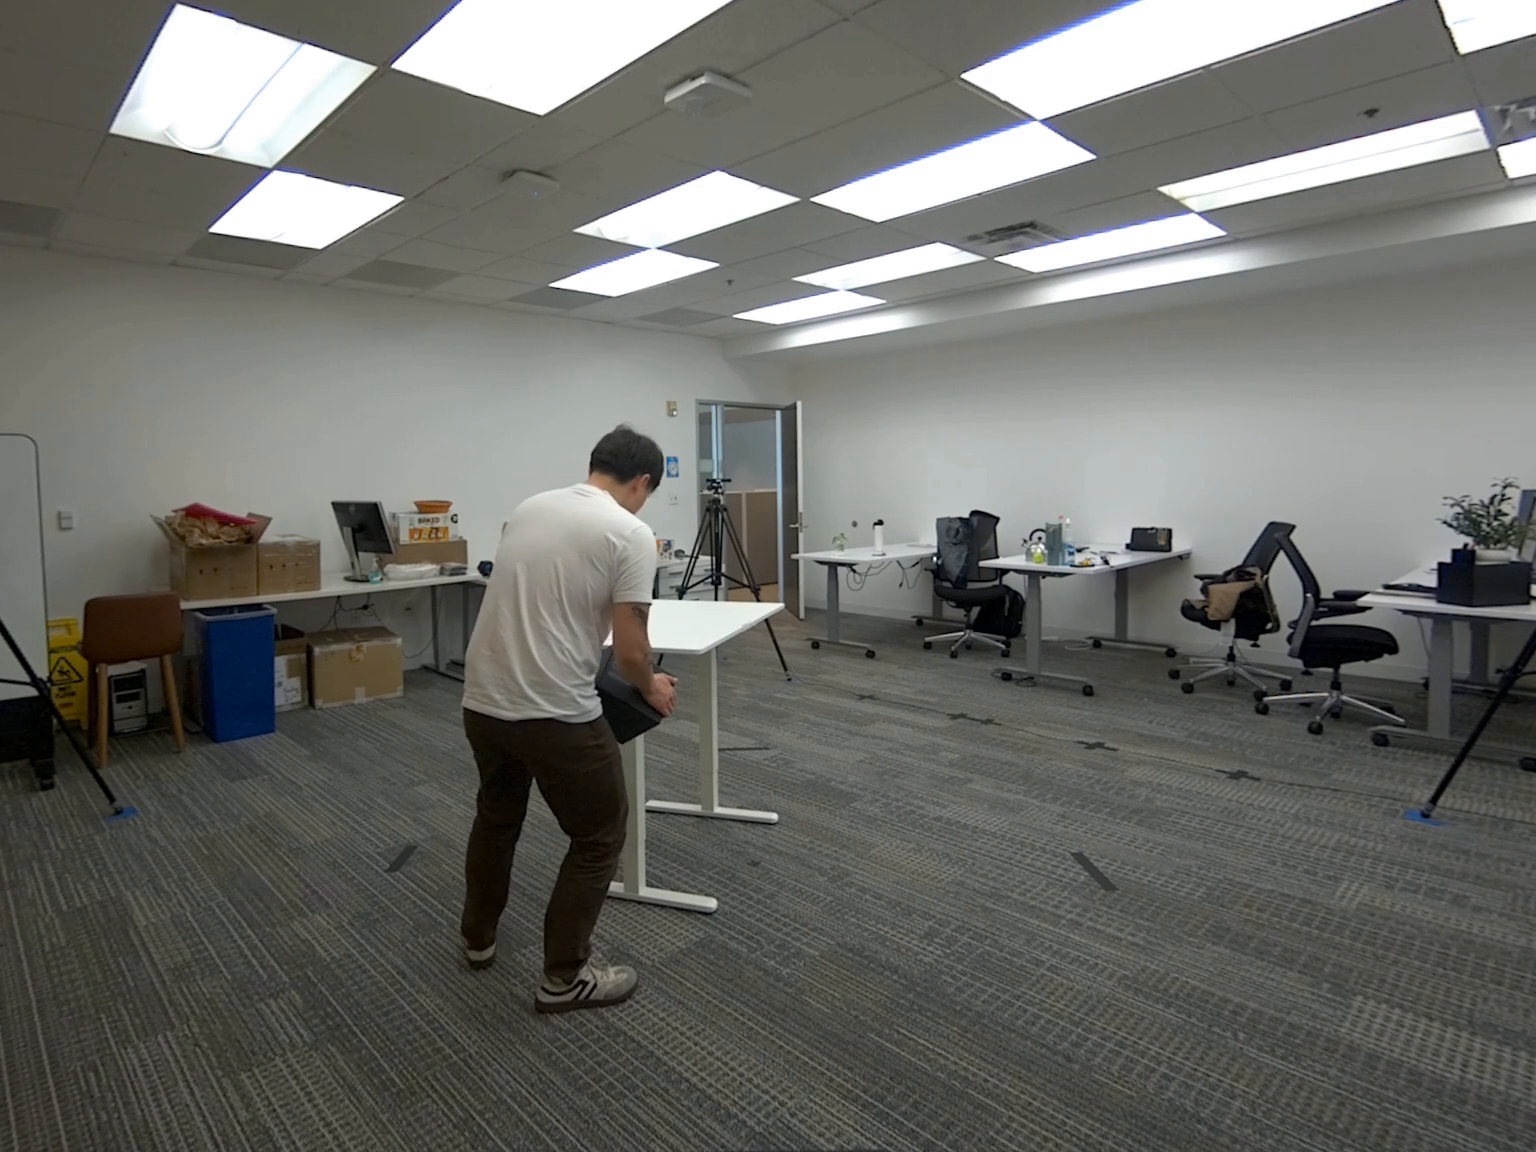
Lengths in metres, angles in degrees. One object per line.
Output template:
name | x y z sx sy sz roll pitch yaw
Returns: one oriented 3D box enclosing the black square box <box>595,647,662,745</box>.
black square box | -0.413 0.347 2.452 0.212 0.158 0.229 36 -43 -18
